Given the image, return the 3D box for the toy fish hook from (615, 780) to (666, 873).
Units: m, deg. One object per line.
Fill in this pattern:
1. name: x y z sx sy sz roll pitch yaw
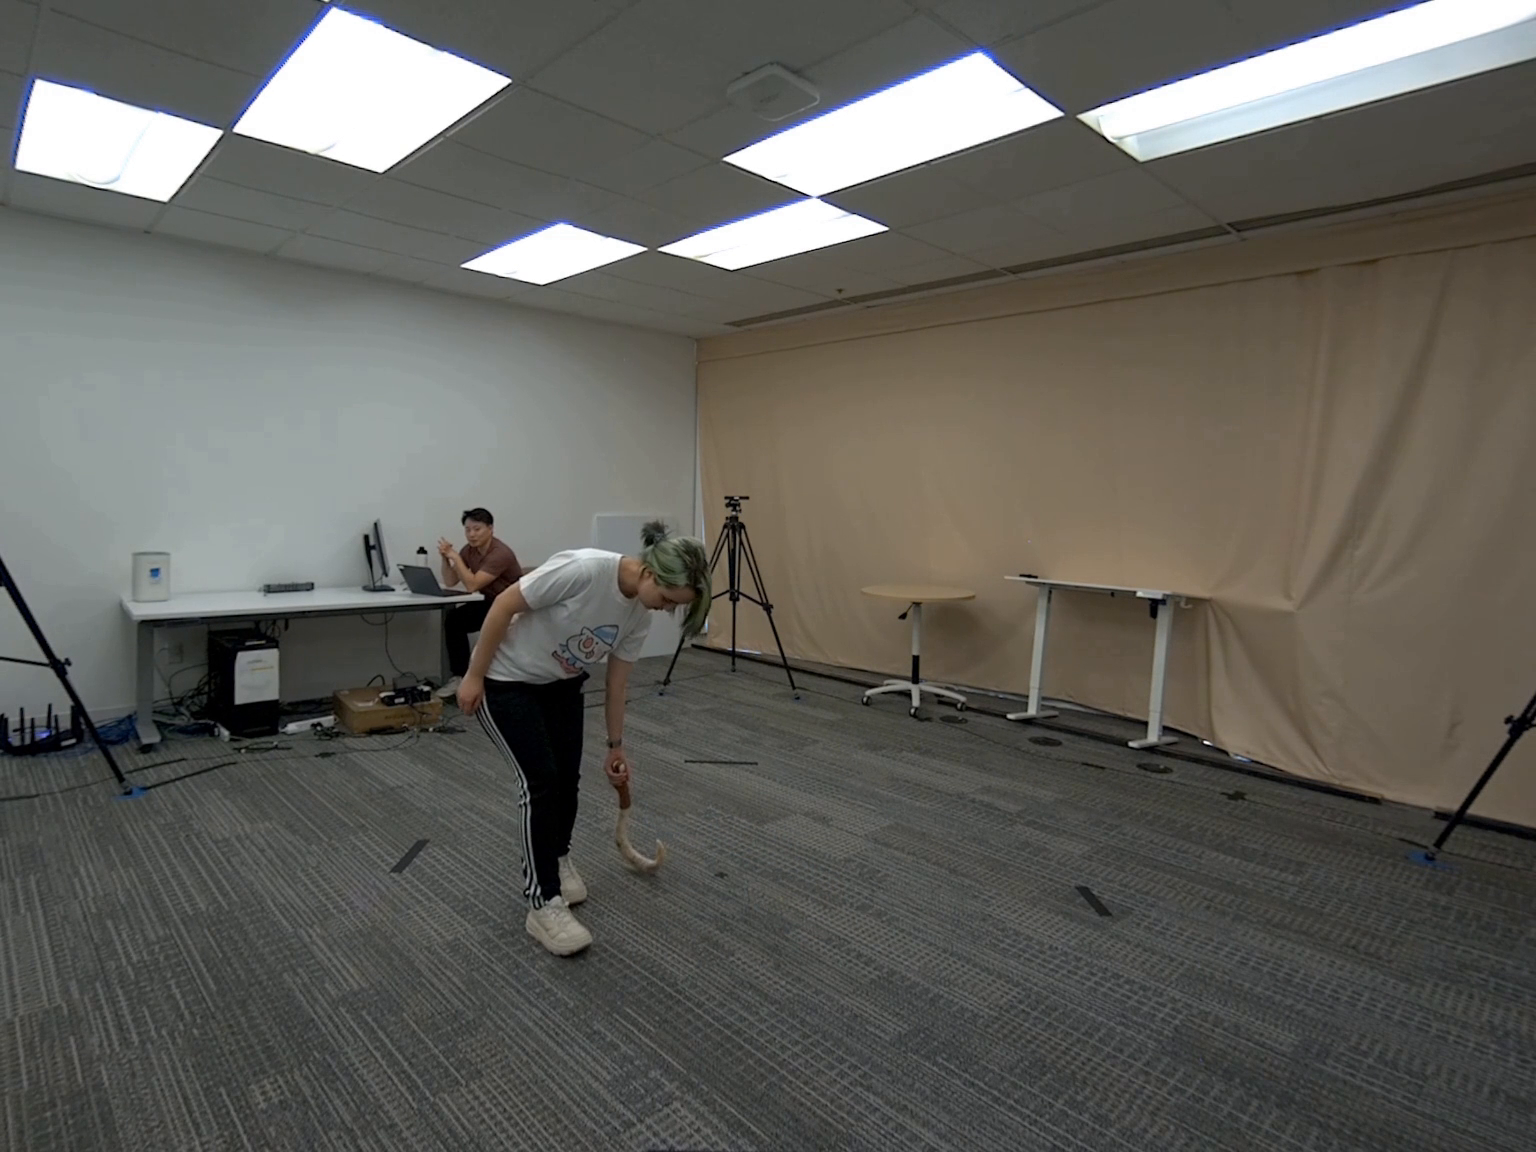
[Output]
1. toy fish hook: -0.472 0.871 2.998 0.229 0.496 0.048 13 33 22
